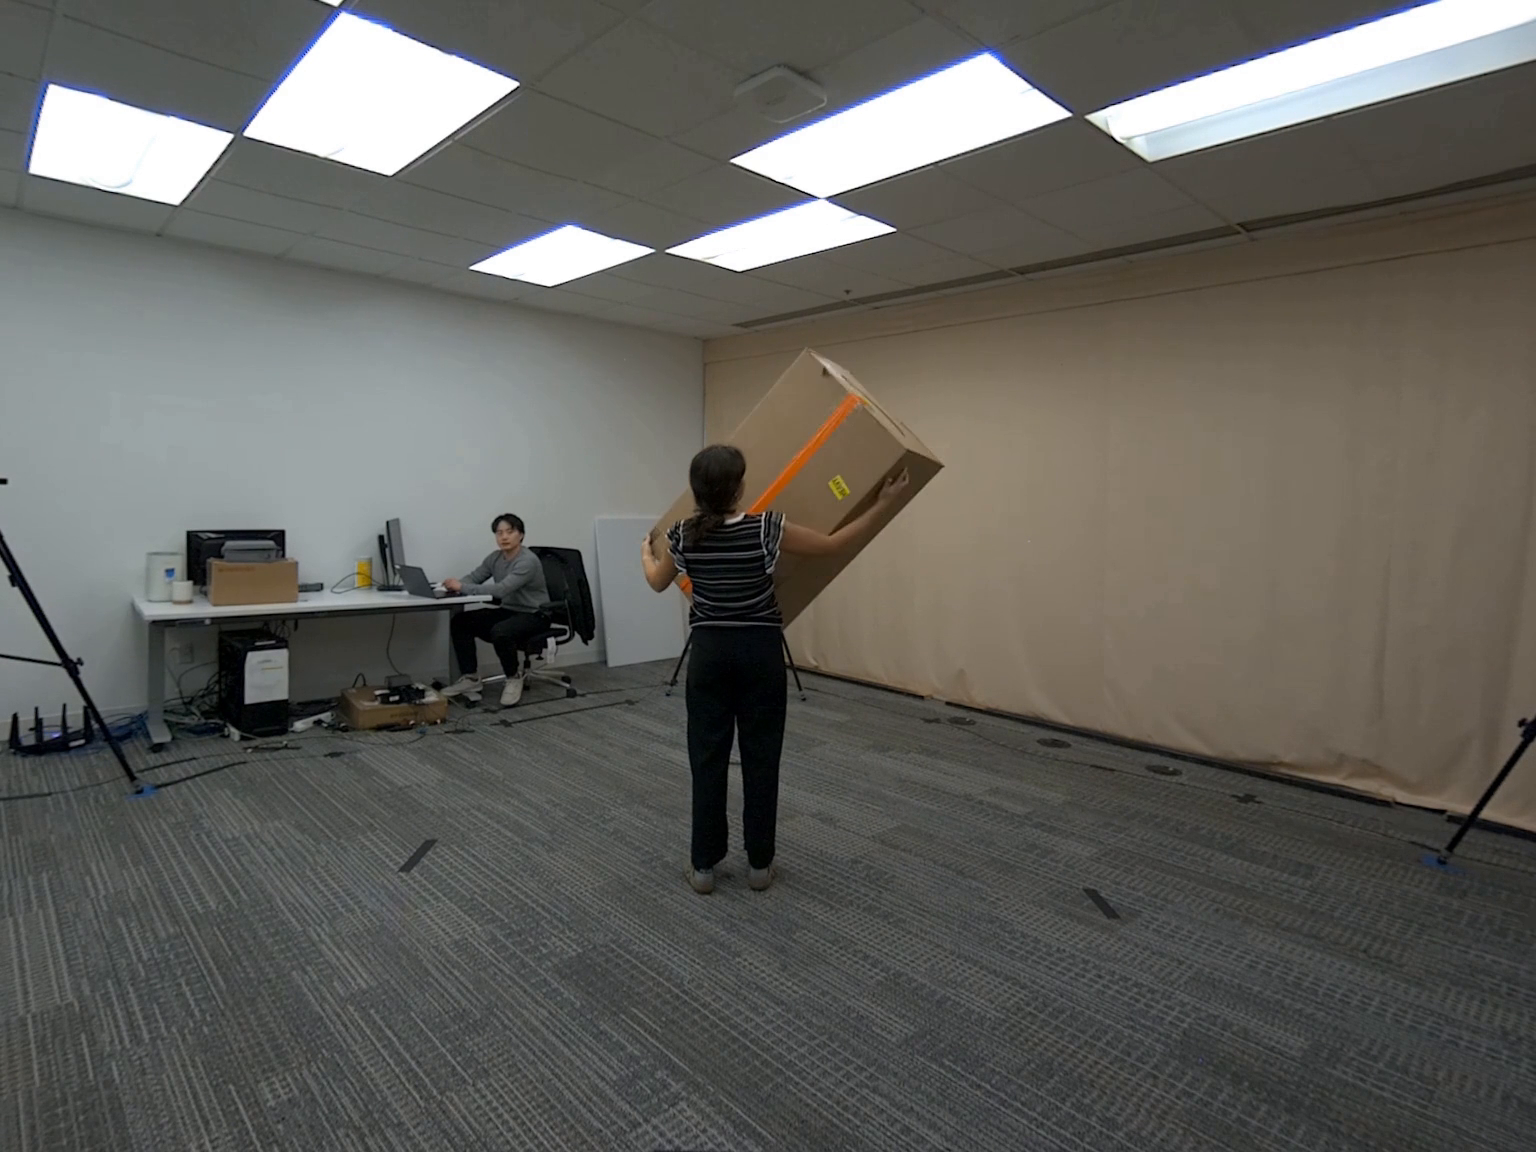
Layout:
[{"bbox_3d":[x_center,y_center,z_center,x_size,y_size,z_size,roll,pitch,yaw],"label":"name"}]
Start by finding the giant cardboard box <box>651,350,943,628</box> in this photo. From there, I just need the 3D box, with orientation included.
[{"bbox_3d":[0.076,-0.281,3.350,0.590,1.025,0.417,51,21,21],"label":"giant cardboard box"}]
